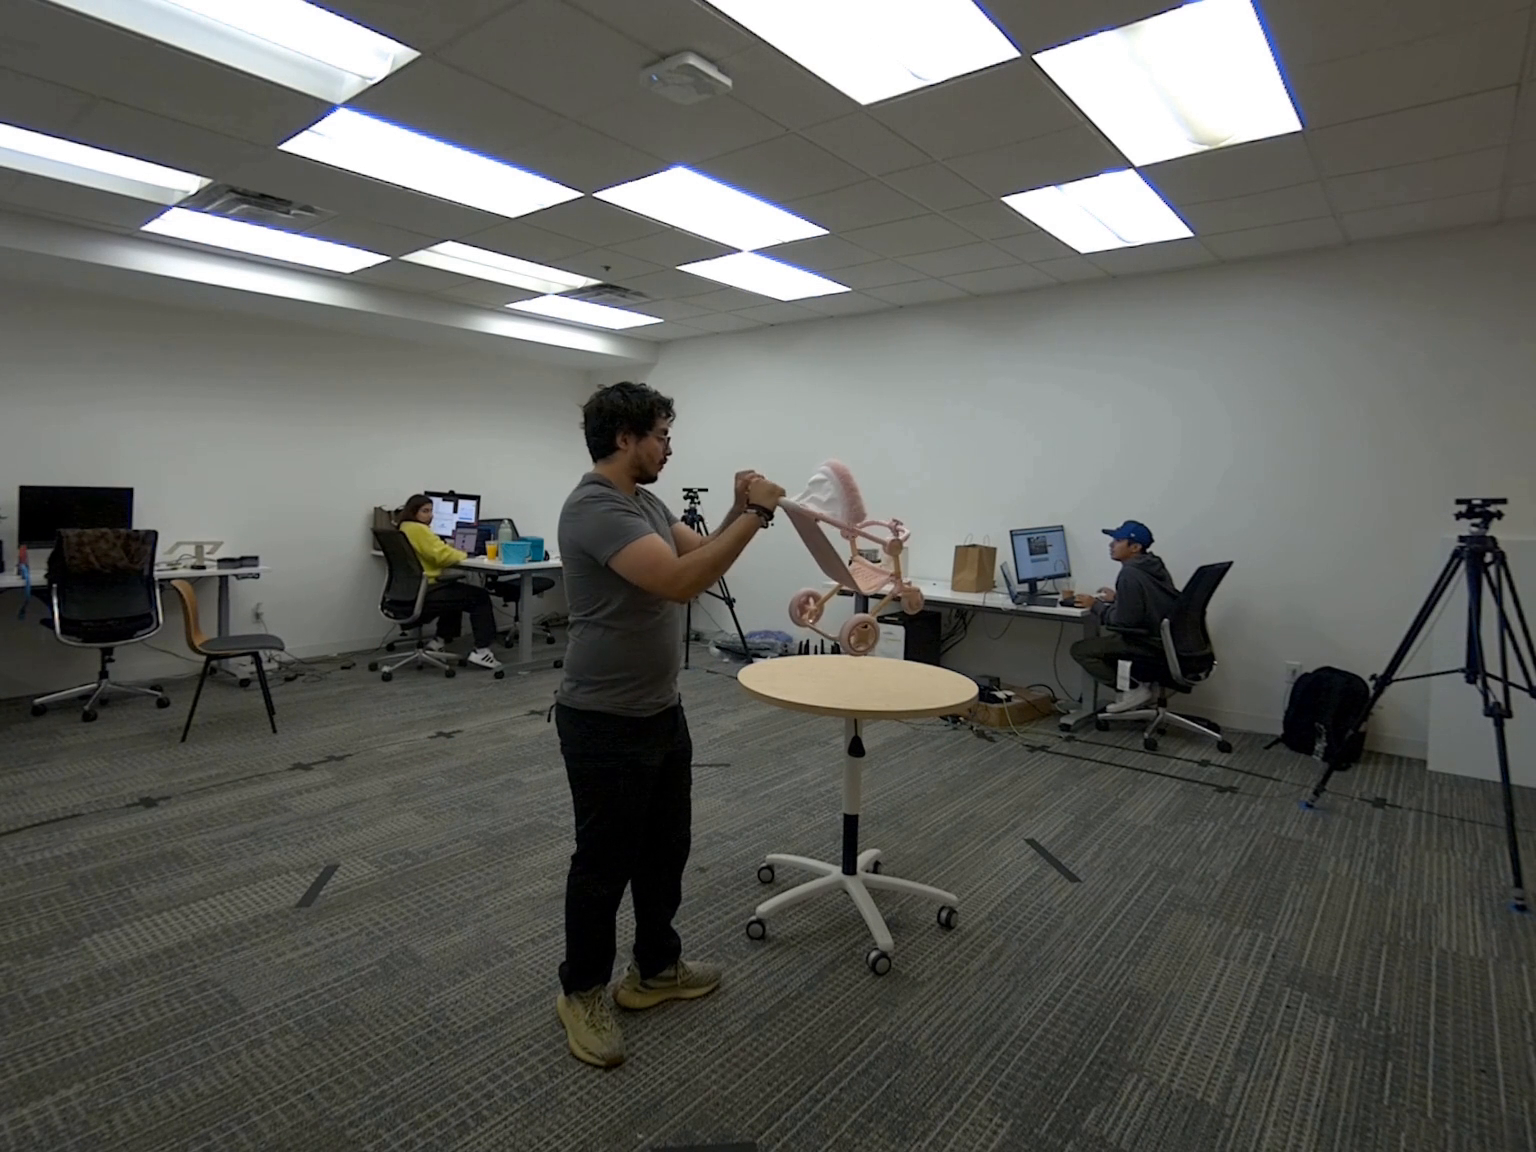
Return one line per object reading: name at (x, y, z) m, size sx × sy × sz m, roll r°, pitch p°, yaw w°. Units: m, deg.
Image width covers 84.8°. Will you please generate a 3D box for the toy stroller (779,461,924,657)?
toy stroller at (0.191, -0.061, 2.166) m, size 0.339 × 0.522 × 0.290 m, roll -27°, pitch 21°, yaw -14°
